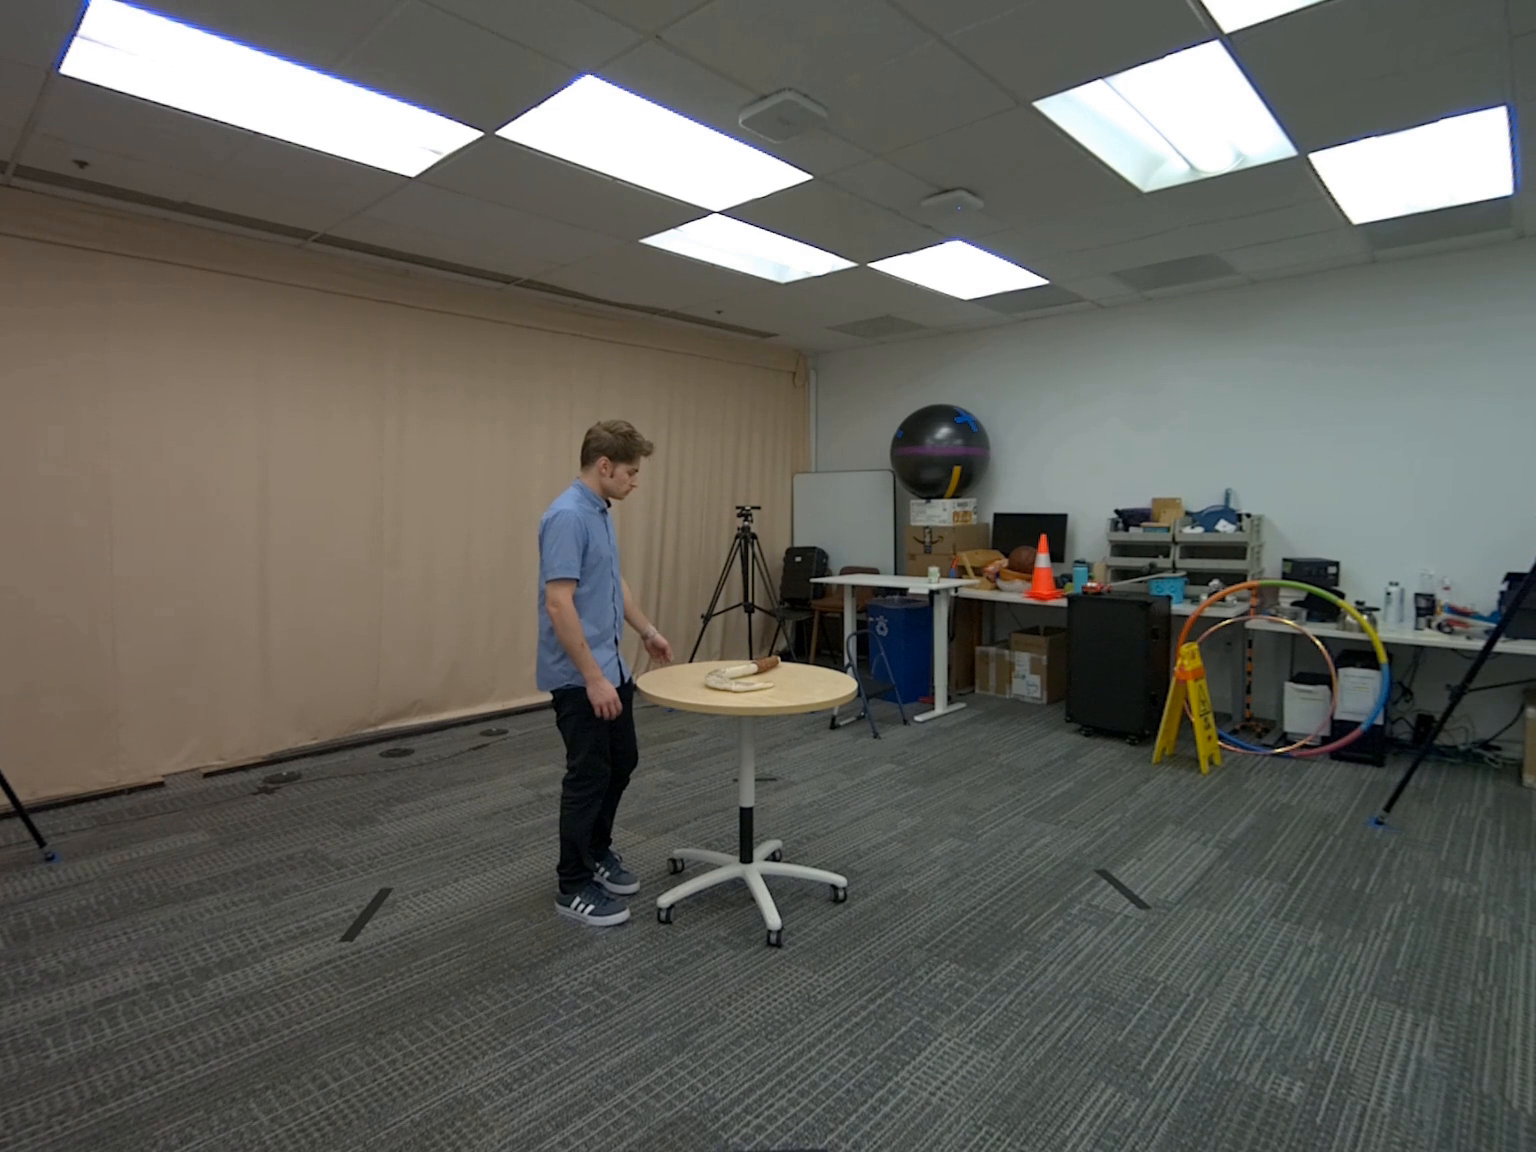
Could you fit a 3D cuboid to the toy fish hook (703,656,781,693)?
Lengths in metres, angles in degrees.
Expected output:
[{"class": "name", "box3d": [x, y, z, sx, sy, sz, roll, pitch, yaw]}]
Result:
[{"class": "toy fish hook", "box3d": [-0.031, 0.349, 2.966, 0.231, 0.048, 0.494, 10, 10, 28]}]
